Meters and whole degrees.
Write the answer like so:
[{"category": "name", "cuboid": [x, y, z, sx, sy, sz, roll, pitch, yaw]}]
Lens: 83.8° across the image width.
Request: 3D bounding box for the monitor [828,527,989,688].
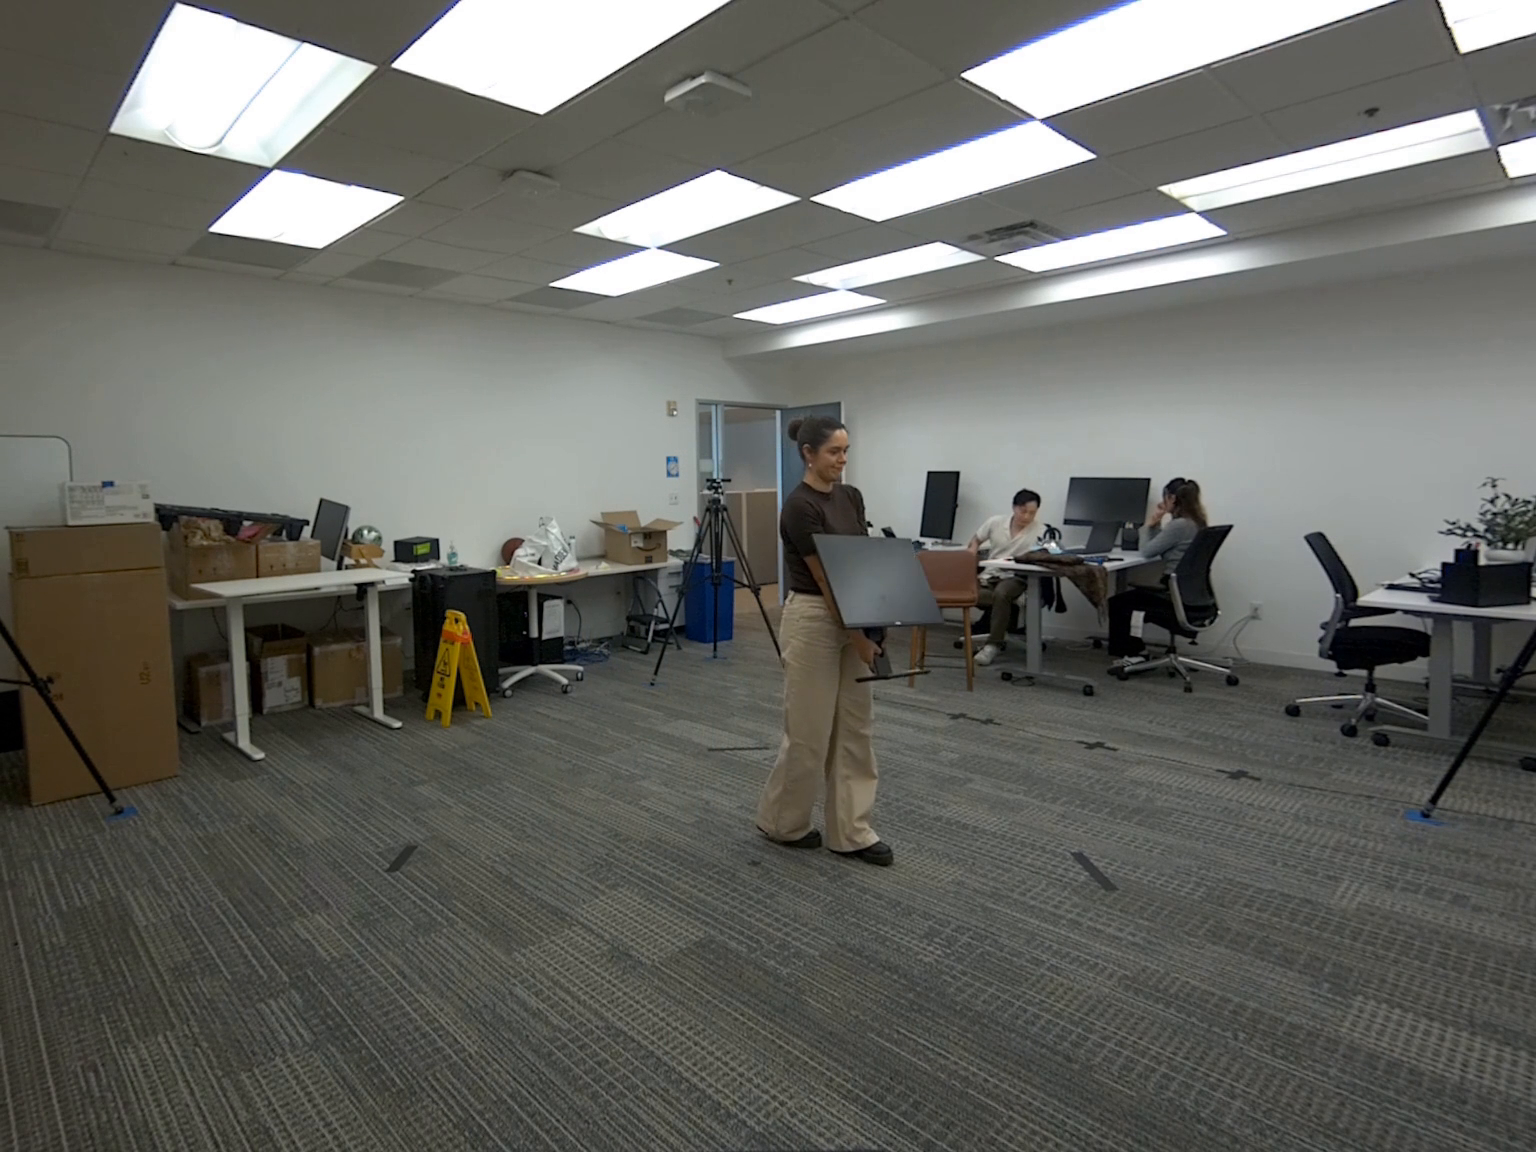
[{"category": "monitor", "cuboid": [0.505, 0.114, 3.070, 0.523, 0.529, 0.190, 3, -16, -41]}]
